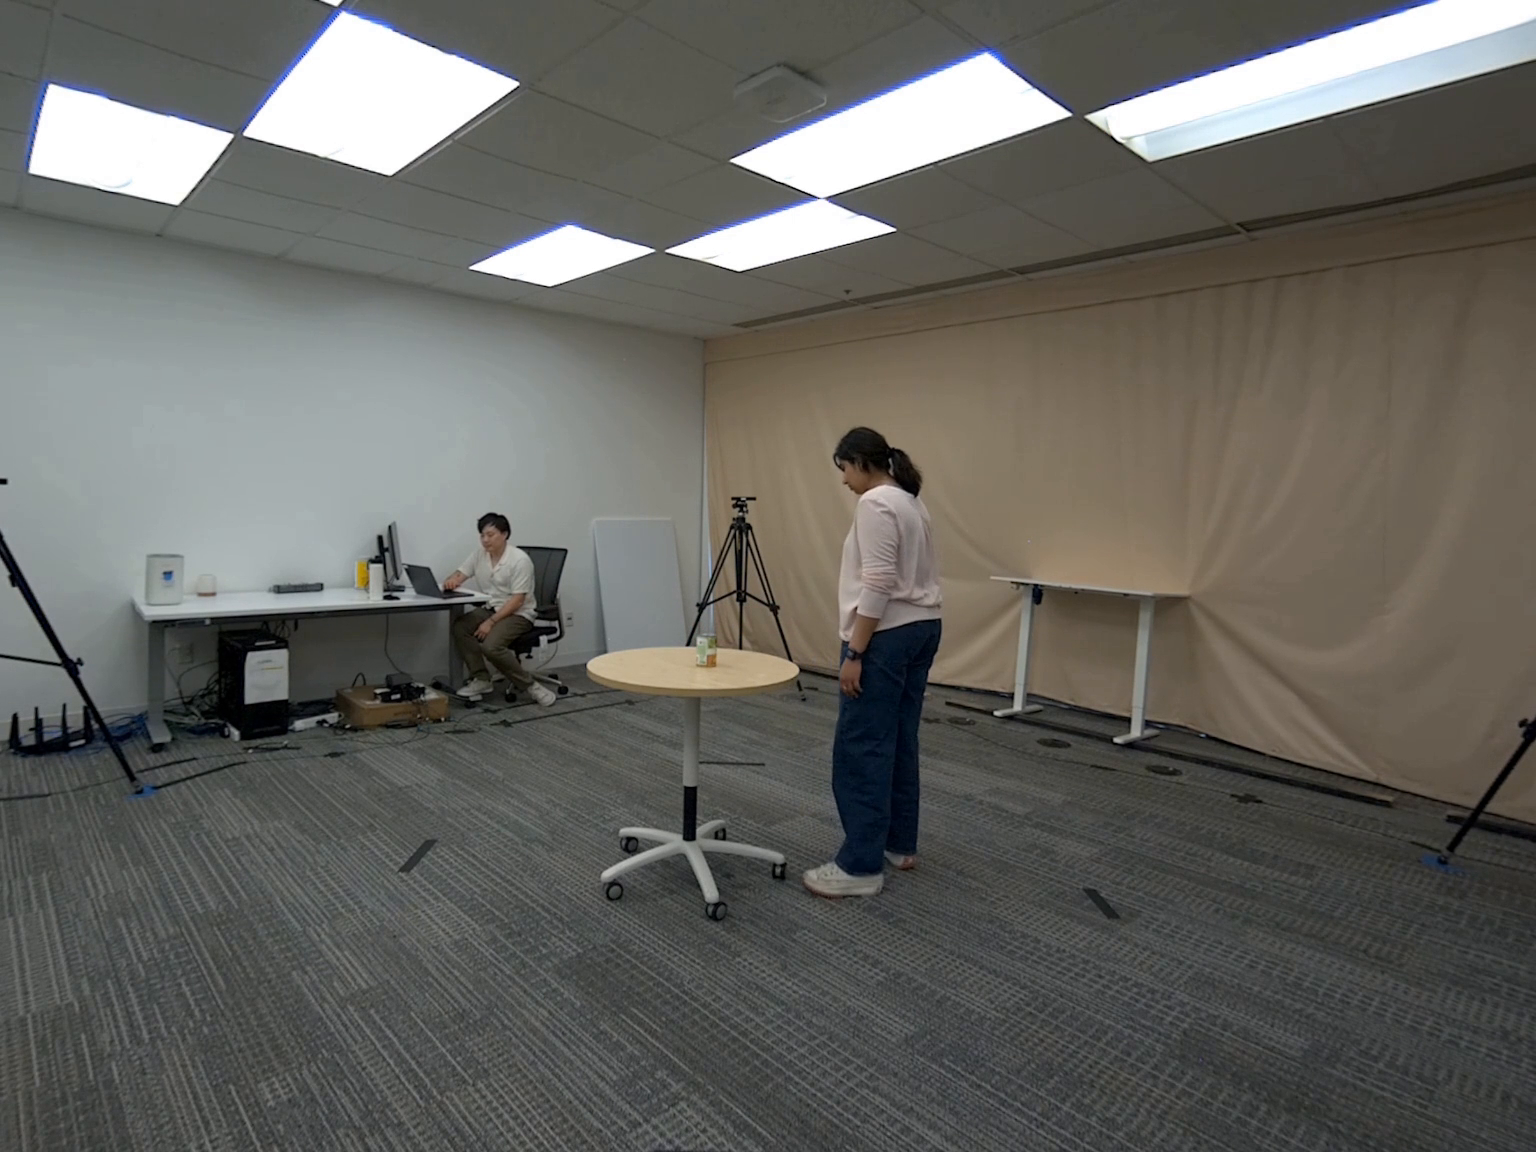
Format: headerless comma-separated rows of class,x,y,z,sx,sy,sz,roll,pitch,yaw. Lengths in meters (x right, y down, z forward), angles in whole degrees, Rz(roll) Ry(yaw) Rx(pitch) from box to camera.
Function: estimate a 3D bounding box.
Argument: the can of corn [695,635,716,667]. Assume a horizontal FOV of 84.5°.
can of corn,-0.222,0.267,3.048,0.074,0.111,0.074,4,3,-2
